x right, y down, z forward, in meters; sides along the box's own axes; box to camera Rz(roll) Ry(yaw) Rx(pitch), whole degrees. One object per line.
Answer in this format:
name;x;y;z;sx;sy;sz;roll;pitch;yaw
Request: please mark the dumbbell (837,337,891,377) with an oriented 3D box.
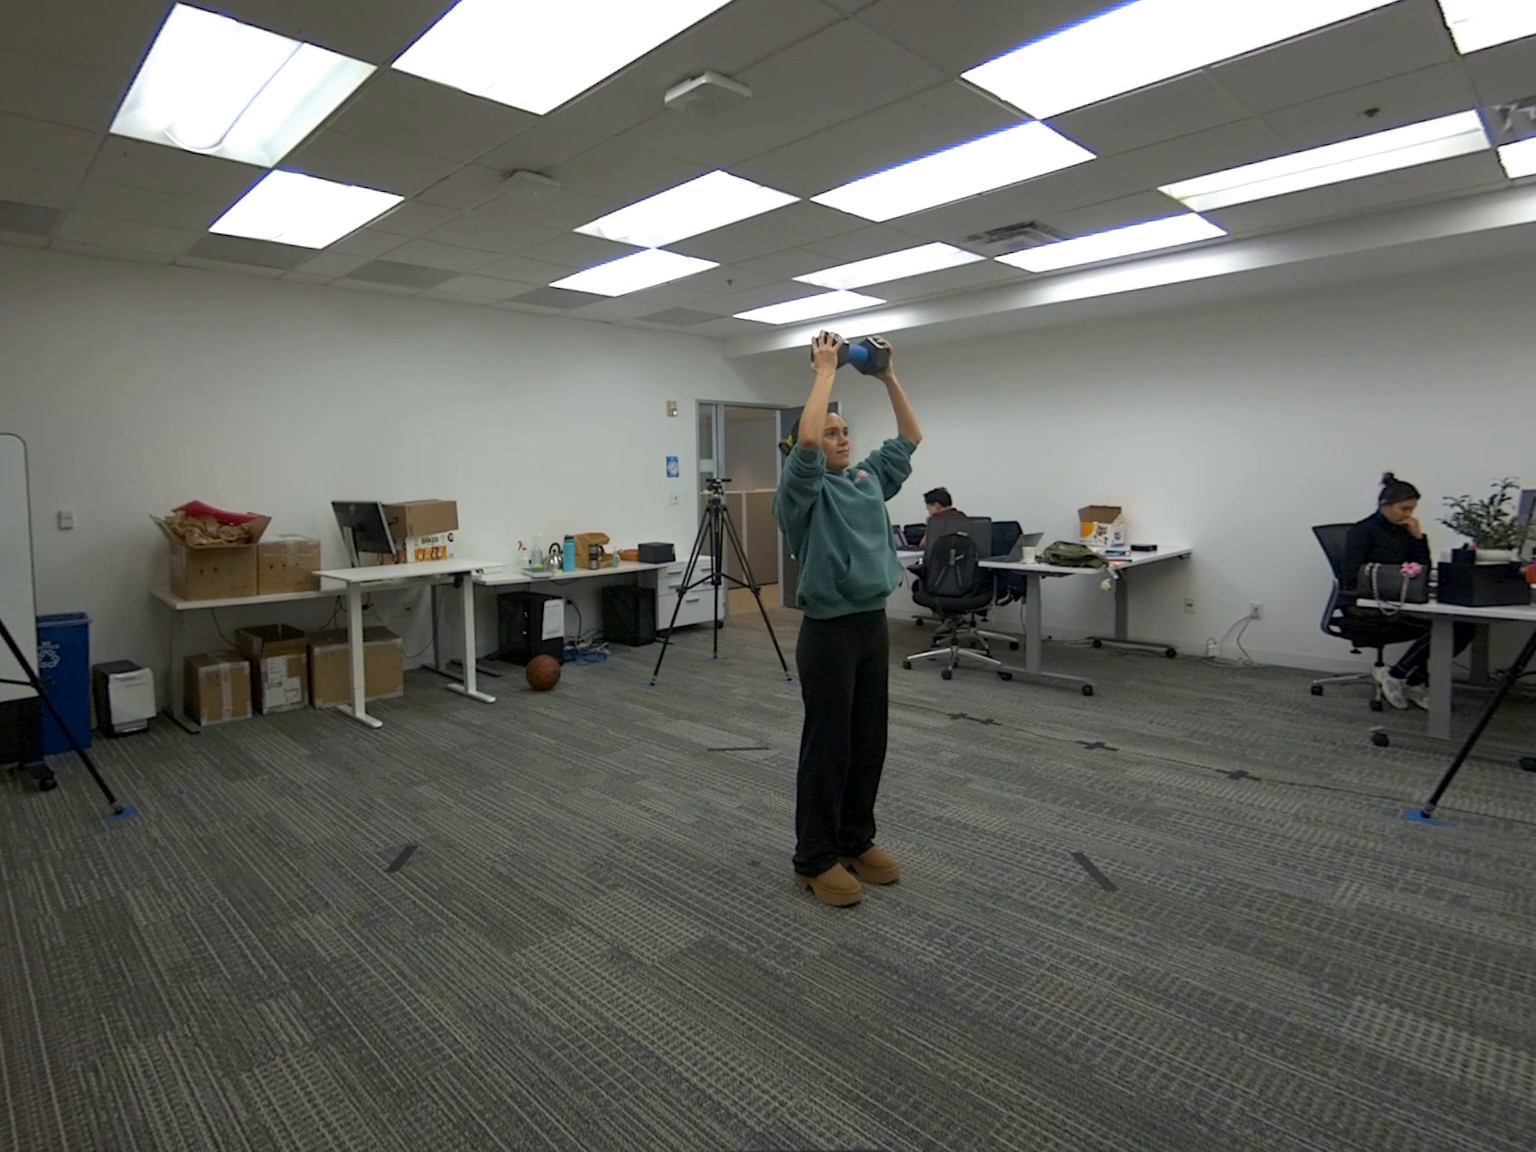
dumbbell;0.274;-0.731;2.804;0.286;0.122;0.112;-8;18;-44
